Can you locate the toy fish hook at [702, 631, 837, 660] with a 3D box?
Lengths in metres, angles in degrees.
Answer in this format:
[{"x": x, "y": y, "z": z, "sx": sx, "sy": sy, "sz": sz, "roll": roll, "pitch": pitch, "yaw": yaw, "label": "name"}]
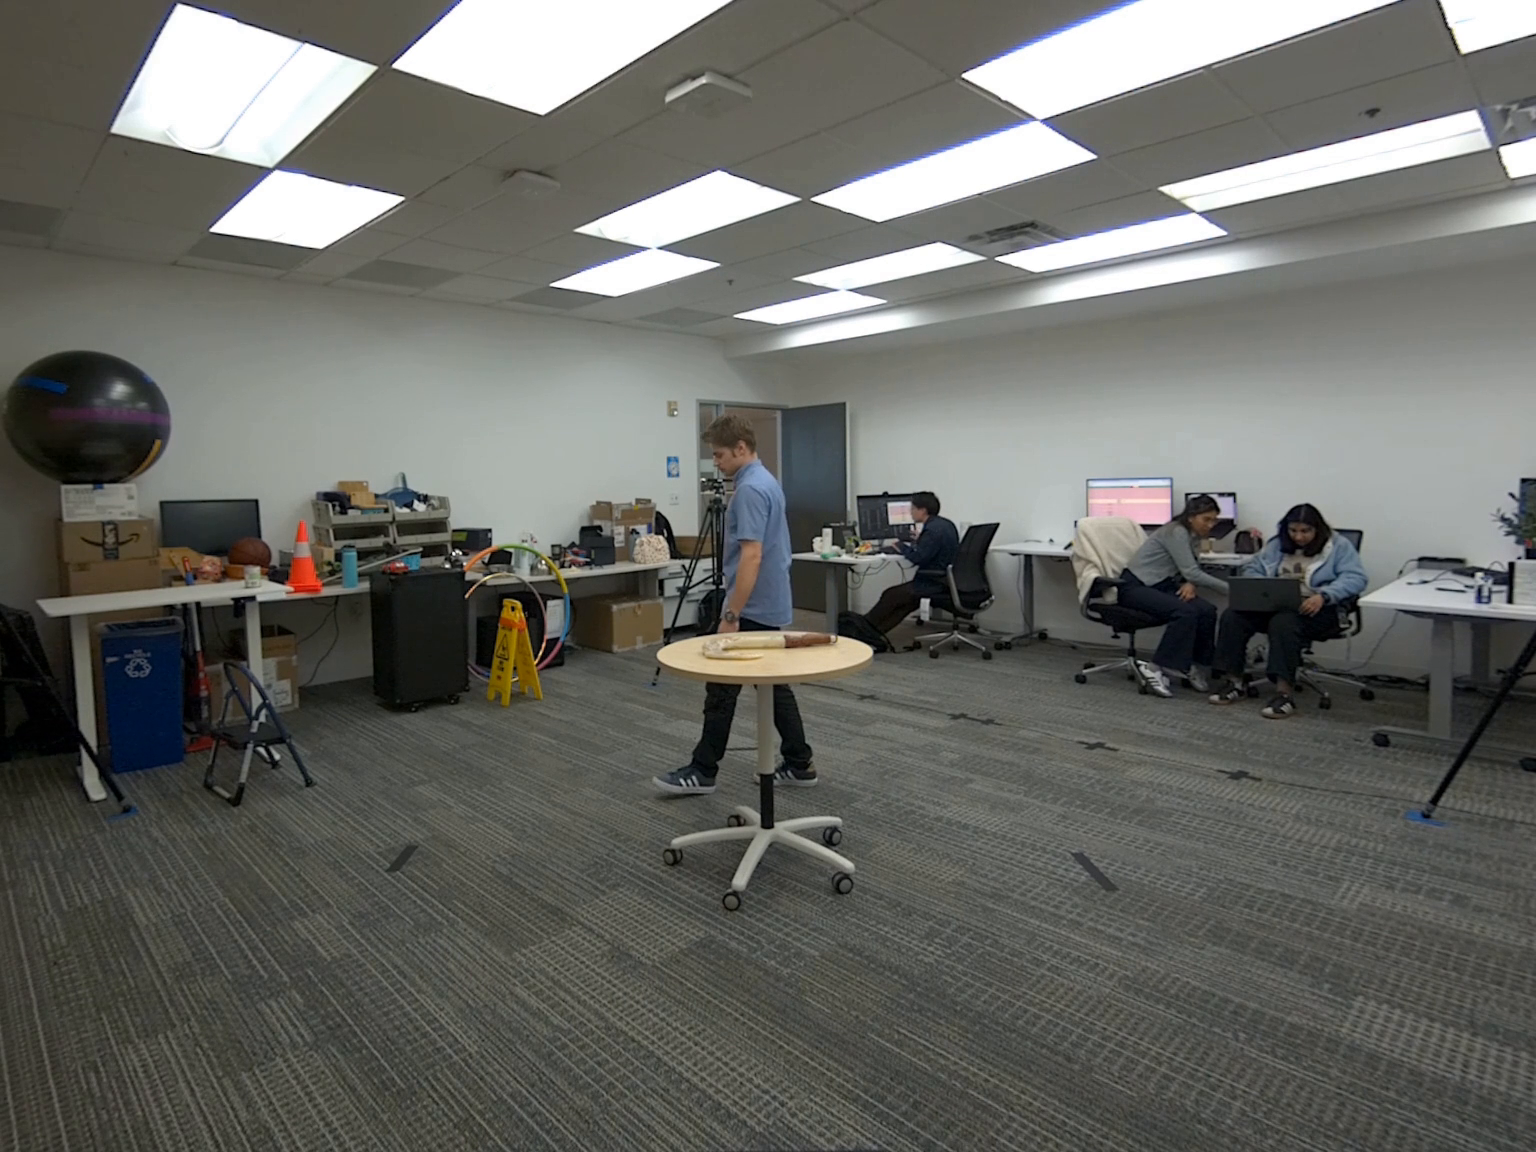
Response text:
[{"x": 0.013, "y": 0.259, "z": 3.036, "sx": 0.502, "sy": 0.048, "sz": 0.229, "roll": -4, "pitch": 15, "yaw": -10, "label": "toy fish hook"}]
